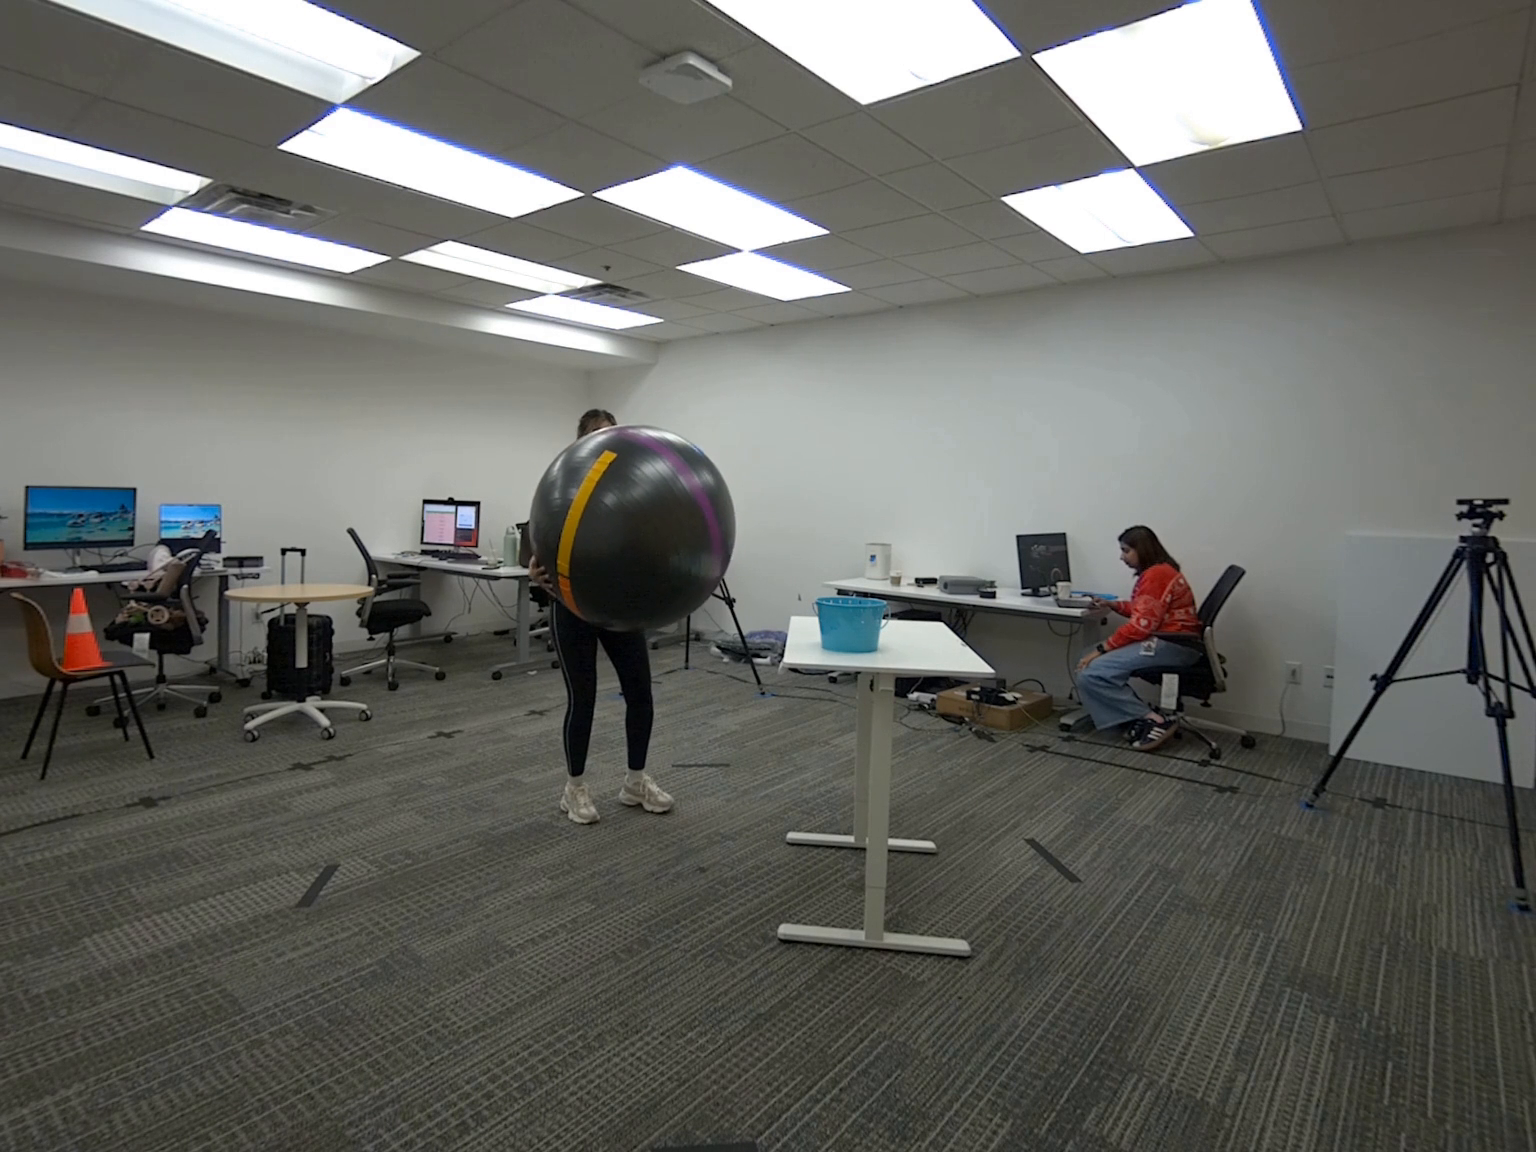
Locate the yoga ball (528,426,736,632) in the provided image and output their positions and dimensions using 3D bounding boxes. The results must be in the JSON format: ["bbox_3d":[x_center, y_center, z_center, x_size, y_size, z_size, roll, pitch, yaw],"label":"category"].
[{"bbox_3d":[-0.503,-0.172,3.128,0.757,0.756,0.762,1,4,-2],"label":"yoga ball"}]
